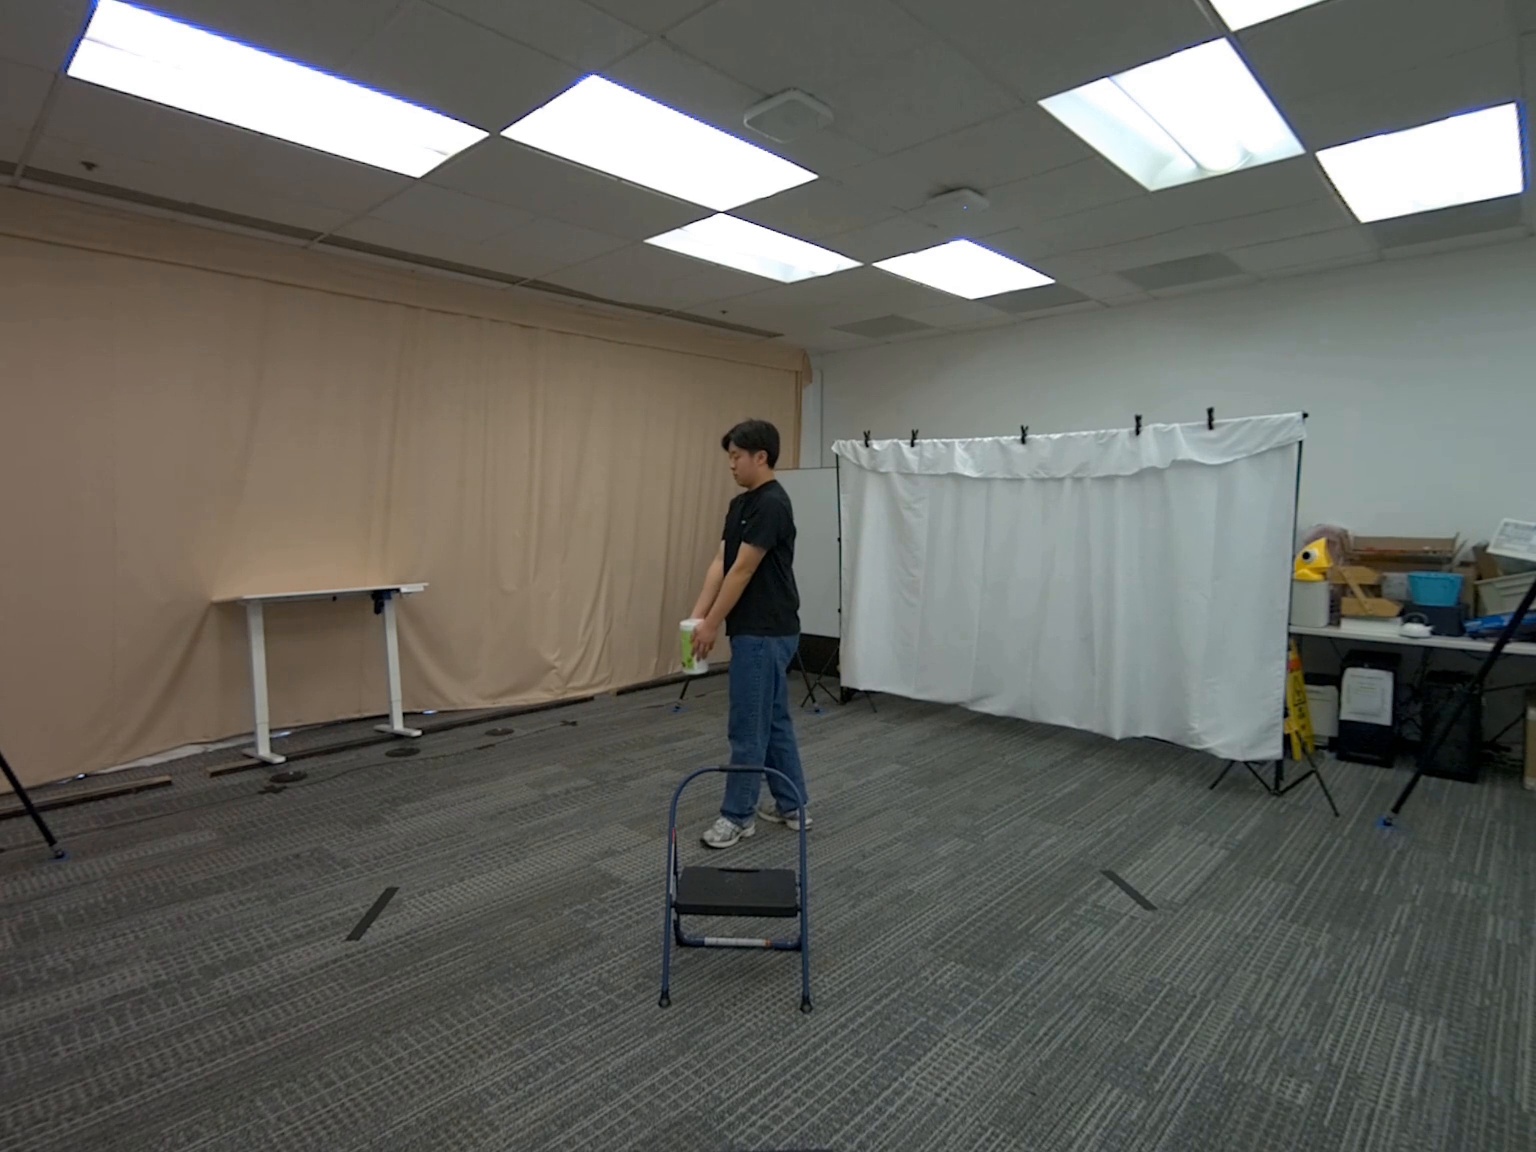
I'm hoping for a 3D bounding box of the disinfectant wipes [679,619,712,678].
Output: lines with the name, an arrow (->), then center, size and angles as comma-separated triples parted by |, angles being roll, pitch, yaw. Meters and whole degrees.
disinfectant wipes -> -0.301, 0.295, 3.526 | 0.118, 0.216, 0.118 | -3, 6, -1
